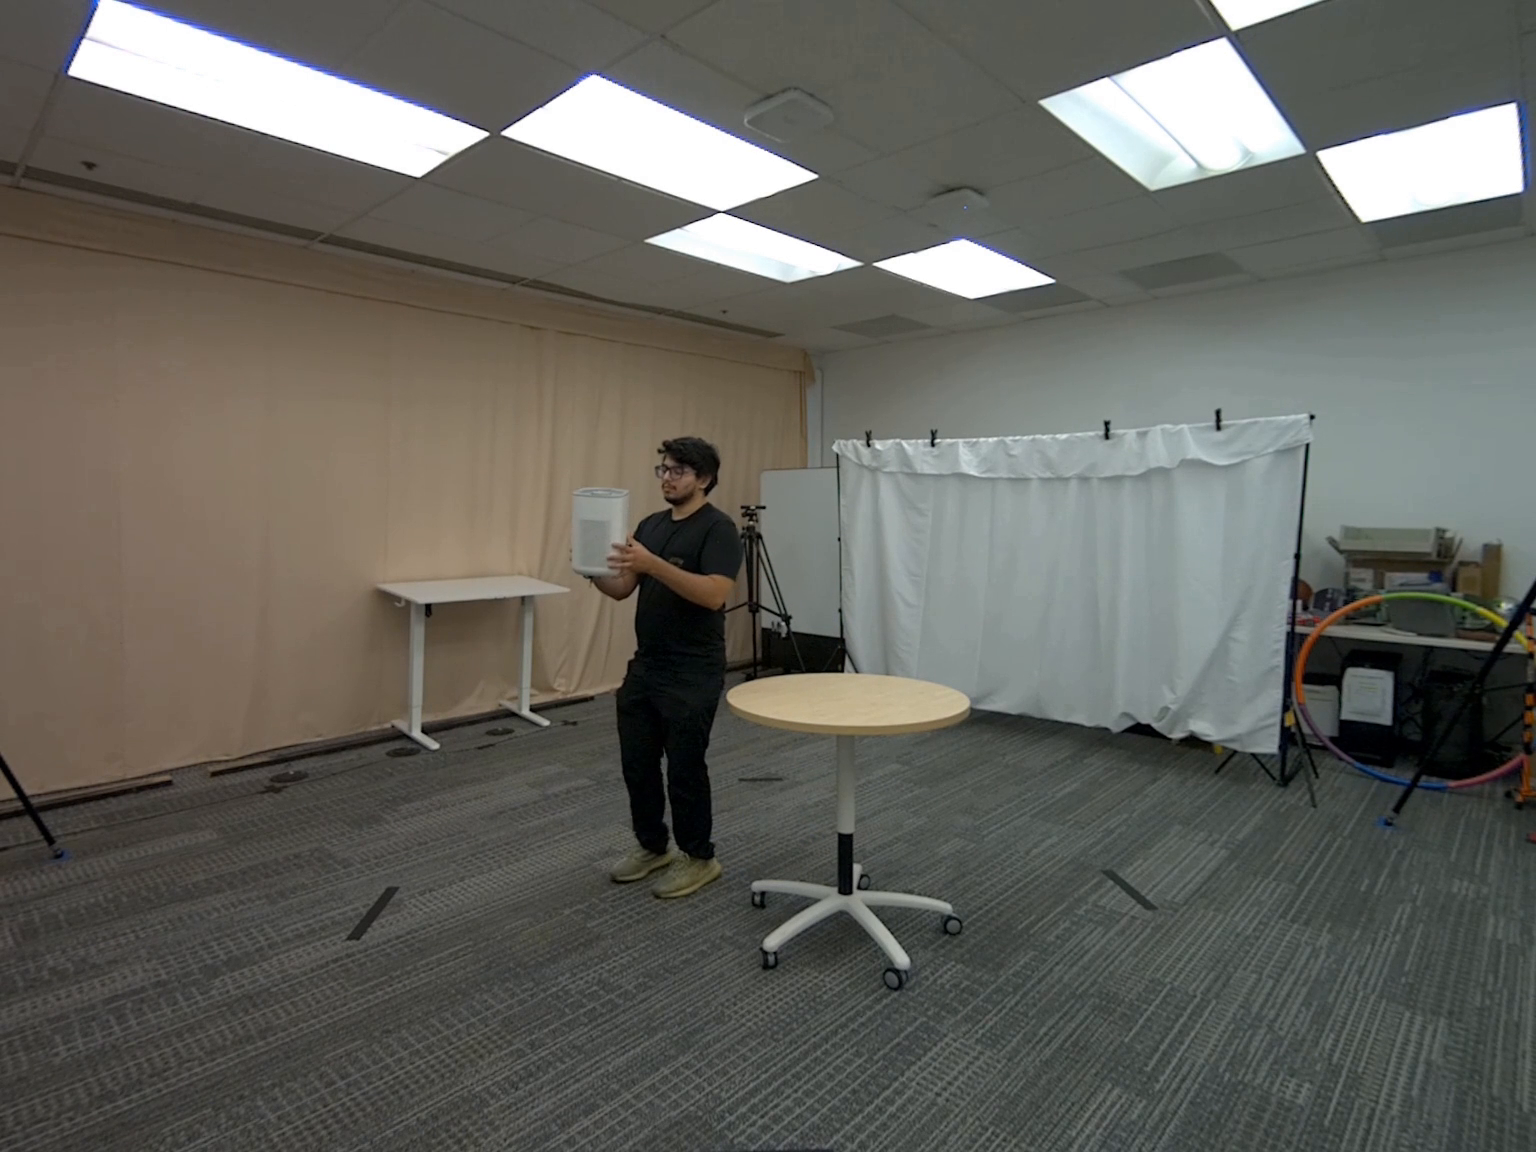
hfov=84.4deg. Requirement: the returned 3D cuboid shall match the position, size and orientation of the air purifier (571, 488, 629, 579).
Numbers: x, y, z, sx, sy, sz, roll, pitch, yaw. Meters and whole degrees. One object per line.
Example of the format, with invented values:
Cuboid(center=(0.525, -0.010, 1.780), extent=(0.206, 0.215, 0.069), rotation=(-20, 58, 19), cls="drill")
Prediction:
Cuboid(center=(-0.551, -0.145, 2.723), extent=(0.170, 0.263, 0.173), rotation=(2, 12, -6), cls="air purifier")
